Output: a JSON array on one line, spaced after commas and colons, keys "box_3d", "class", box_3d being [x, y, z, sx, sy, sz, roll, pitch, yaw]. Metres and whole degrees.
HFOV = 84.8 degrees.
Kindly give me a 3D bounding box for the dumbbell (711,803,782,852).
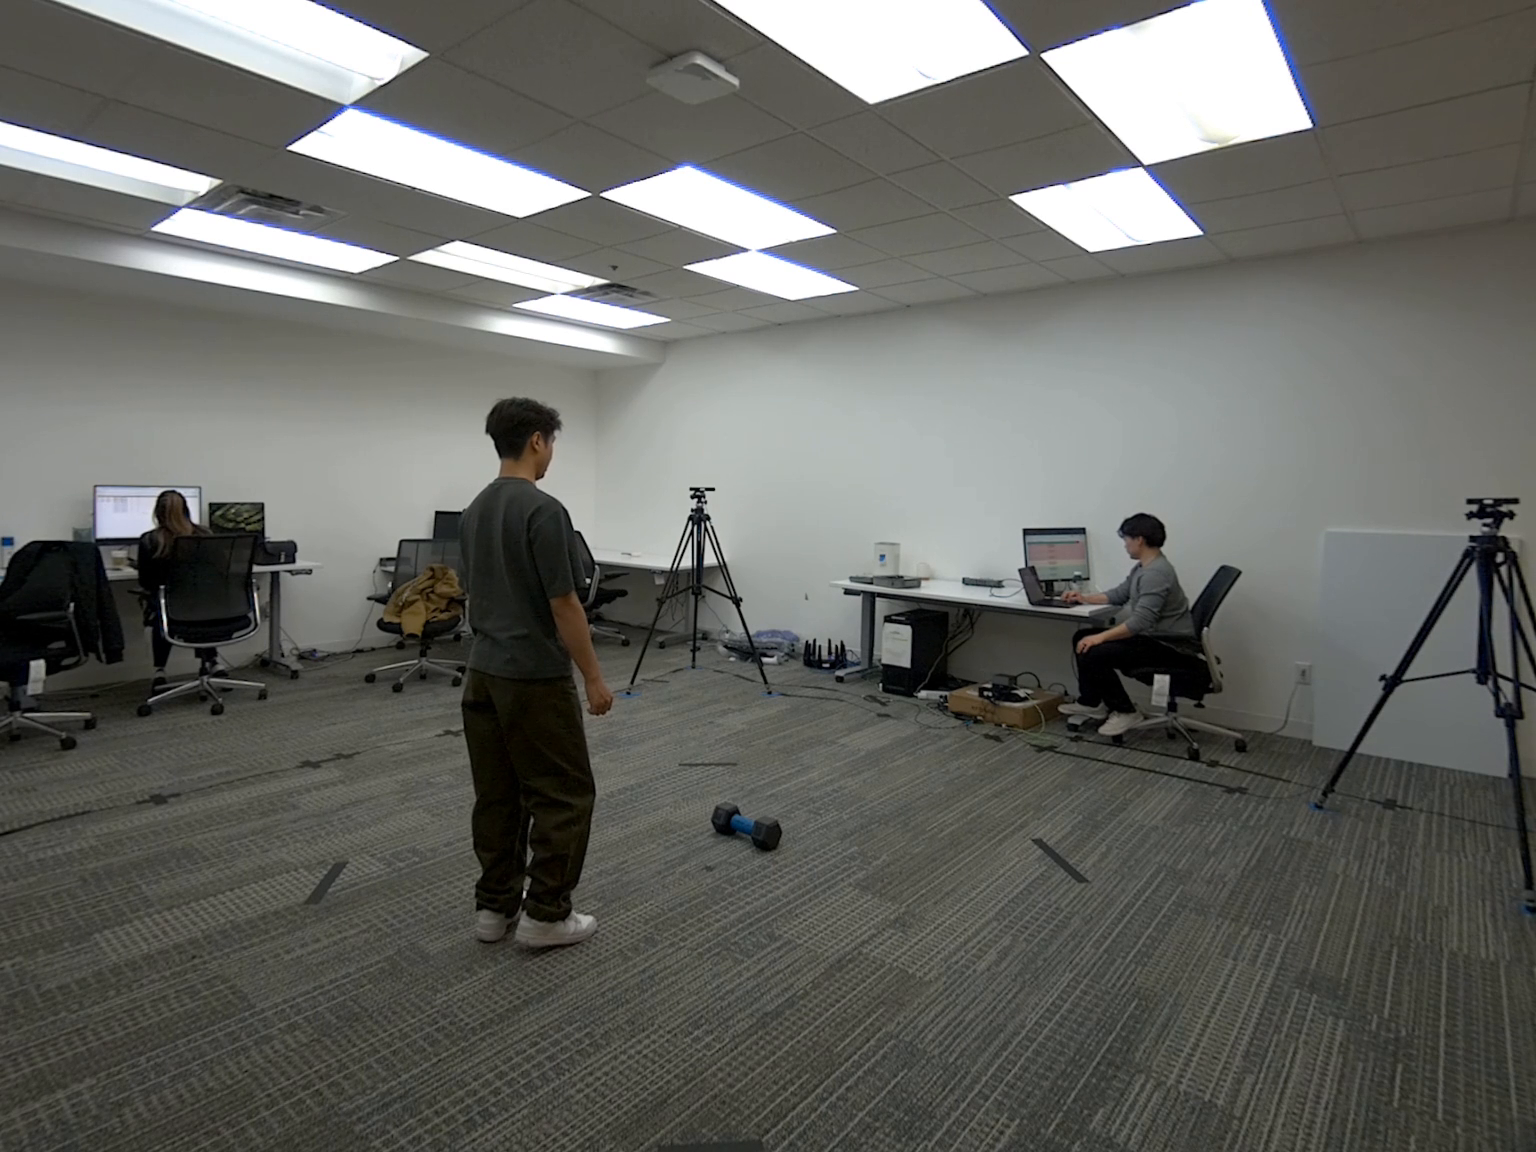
[{"box_3d": [-0.096, 0.987, 3.376, 0.304, 0.124, 0.104, 6, -25, 42], "class": "dumbbell"}]
